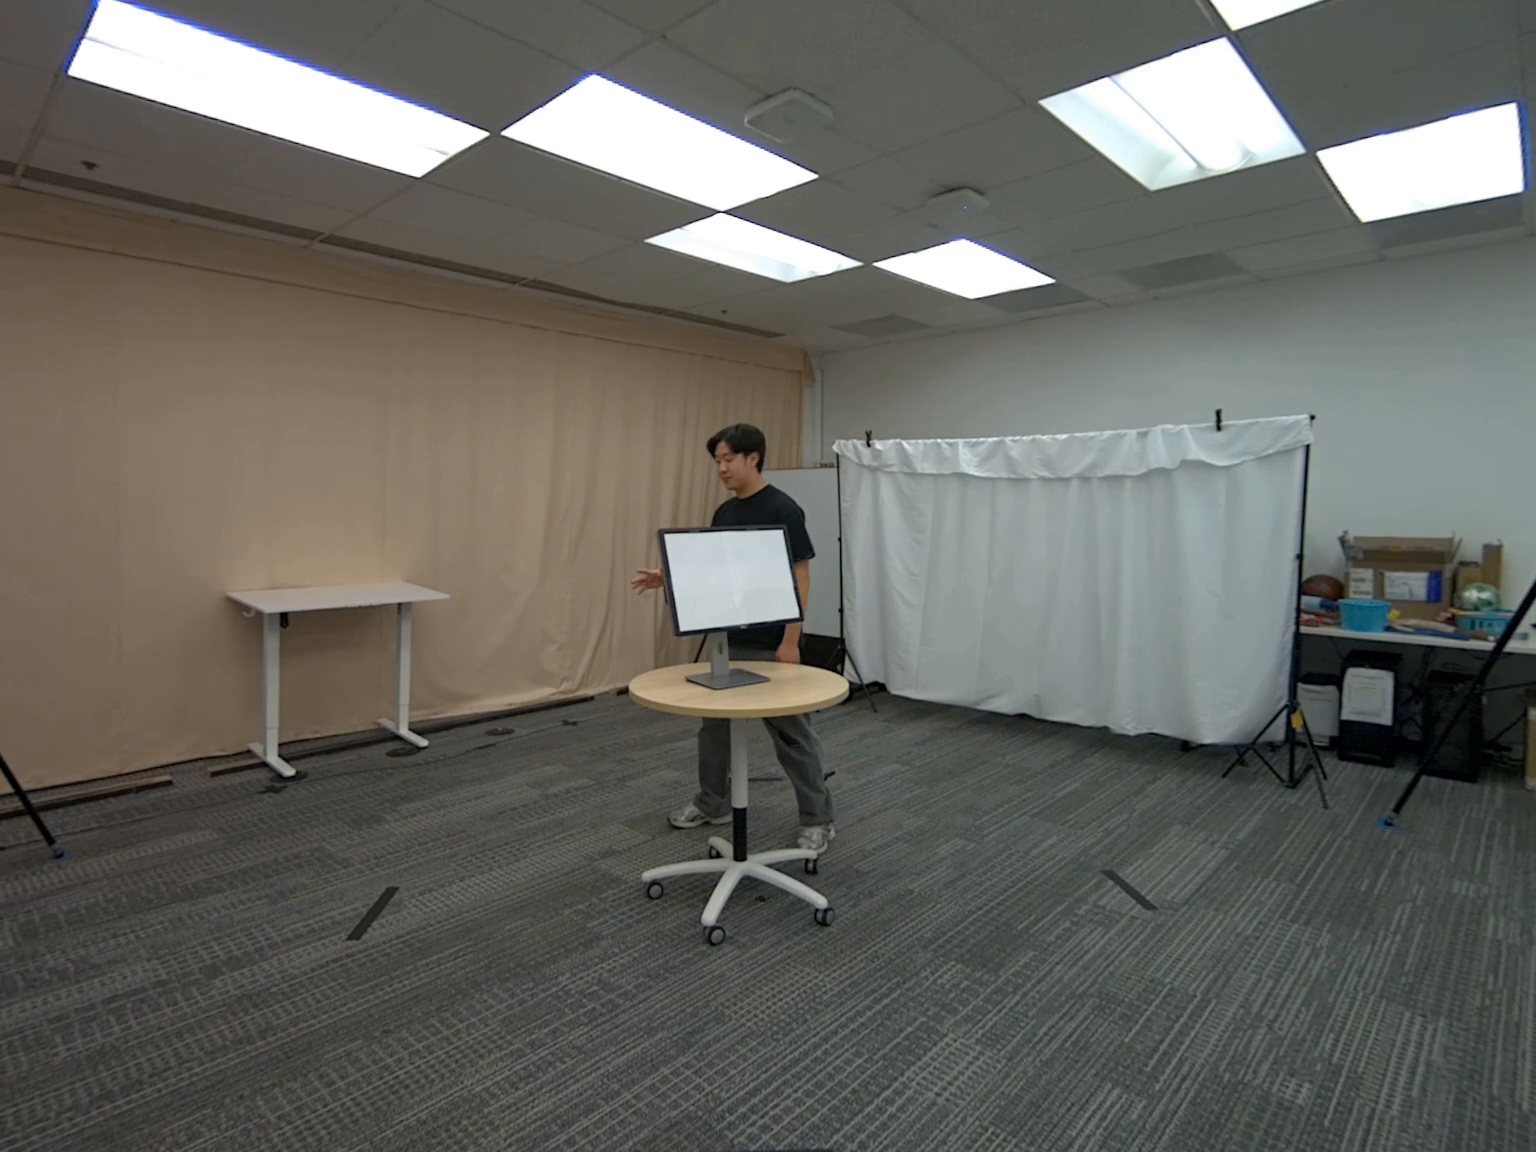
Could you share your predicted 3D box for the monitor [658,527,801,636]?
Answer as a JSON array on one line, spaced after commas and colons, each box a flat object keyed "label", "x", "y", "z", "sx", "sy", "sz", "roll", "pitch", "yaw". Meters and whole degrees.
[{"label": "monitor", "x": -0.139, "y": 0.110, "z": 2.958, "sx": 0.546, "sy": 0.564, "sz": 0.229, "roll": -4, "pitch": 6, "yaw": -35}]
